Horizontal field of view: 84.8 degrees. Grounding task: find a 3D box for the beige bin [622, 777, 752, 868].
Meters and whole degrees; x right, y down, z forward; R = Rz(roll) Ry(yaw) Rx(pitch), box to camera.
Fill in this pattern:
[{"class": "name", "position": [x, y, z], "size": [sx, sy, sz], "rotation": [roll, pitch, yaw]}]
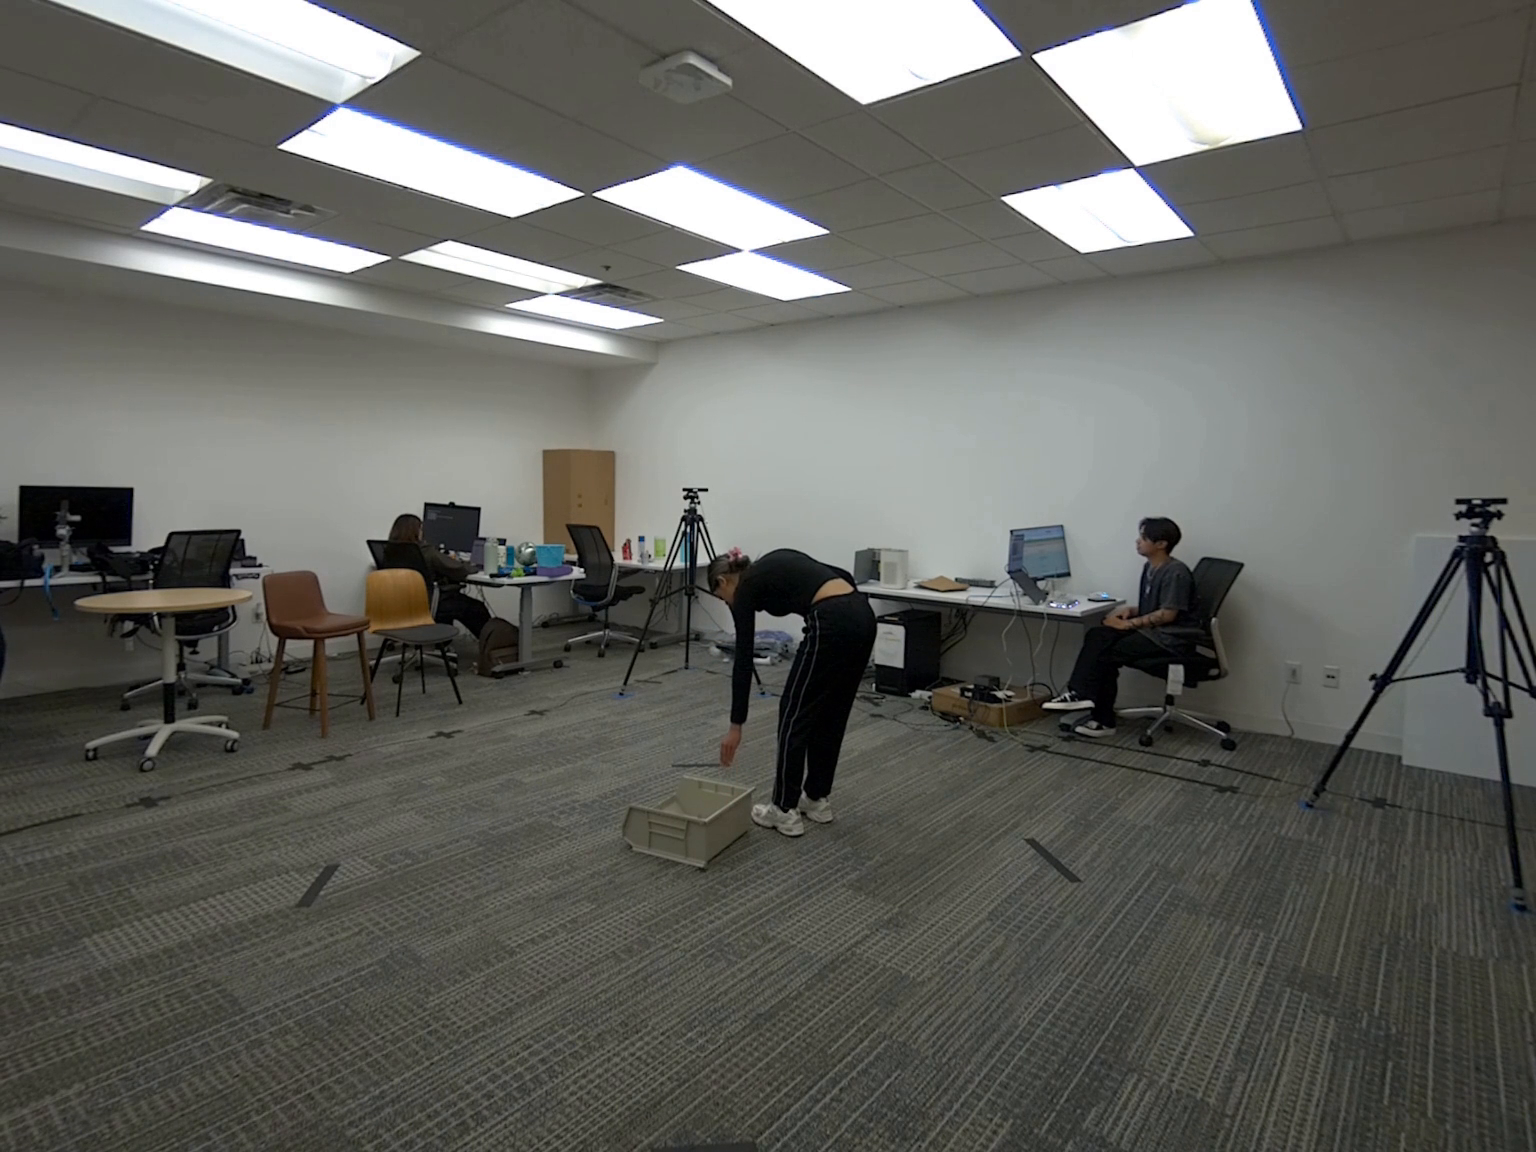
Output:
[{"class": "beige bin", "position": [-0.318, 0.957, 3.375], "size": [0.388, 0.188, 0.412], "rotation": [4, 5, 26]}]
